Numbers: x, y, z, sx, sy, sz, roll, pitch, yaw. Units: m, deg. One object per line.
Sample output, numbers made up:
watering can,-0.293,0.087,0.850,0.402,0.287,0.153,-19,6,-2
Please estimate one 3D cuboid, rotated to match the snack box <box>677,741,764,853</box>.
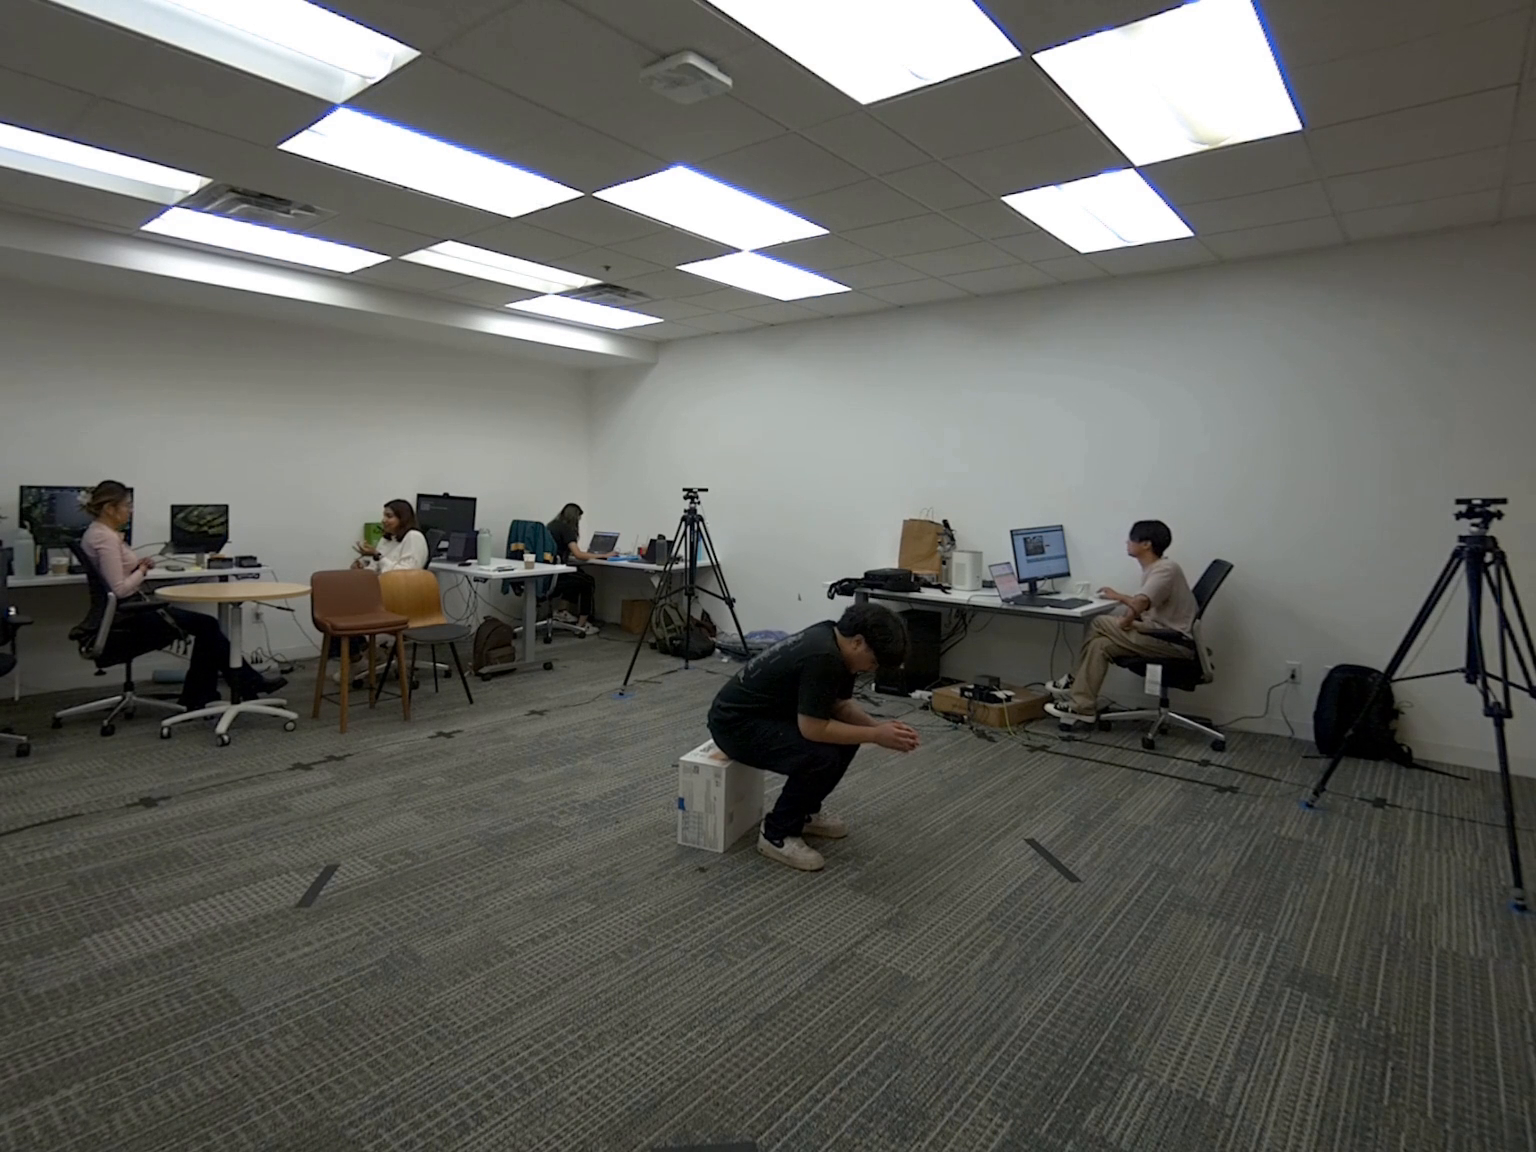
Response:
snack box,-0.195,0.867,3.461,0.211,0.339,0.397,2,5,22
